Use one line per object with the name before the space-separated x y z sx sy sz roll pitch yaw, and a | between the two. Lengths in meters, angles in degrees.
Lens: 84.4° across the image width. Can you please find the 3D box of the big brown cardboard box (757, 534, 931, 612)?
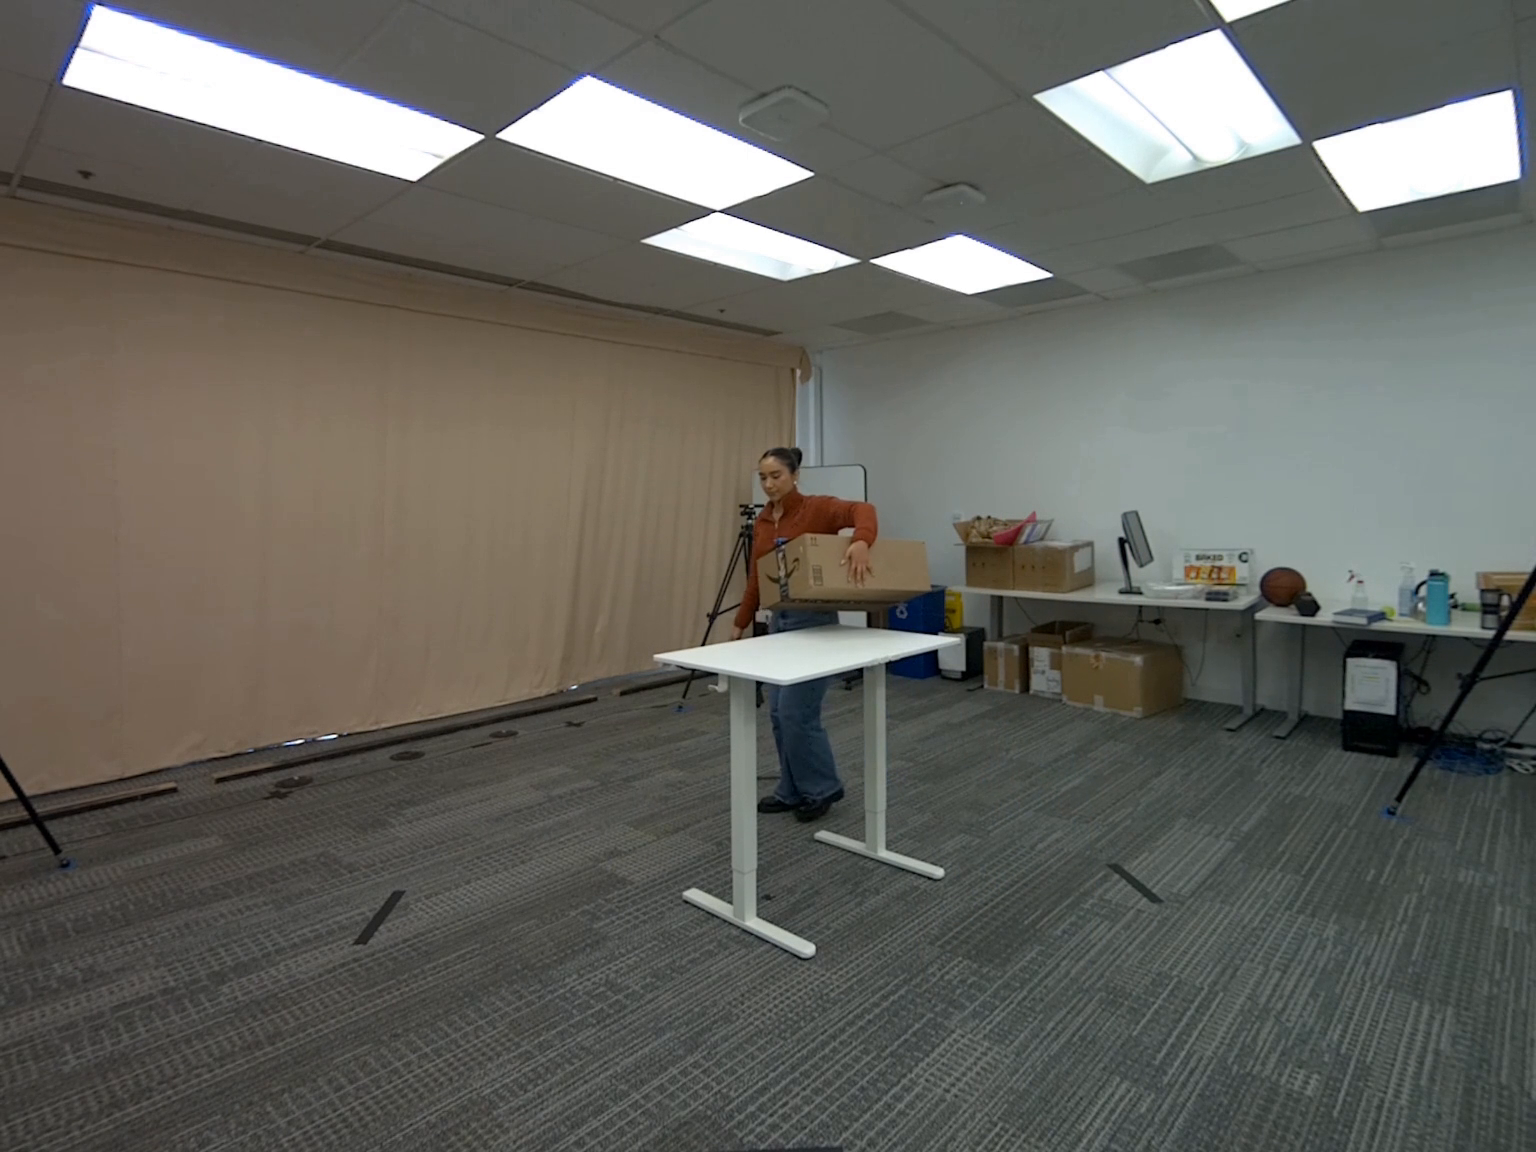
big brown cardboard box | 0.305 -0.002 3.459 0.574 0.235 0.424 4 -16 -26
